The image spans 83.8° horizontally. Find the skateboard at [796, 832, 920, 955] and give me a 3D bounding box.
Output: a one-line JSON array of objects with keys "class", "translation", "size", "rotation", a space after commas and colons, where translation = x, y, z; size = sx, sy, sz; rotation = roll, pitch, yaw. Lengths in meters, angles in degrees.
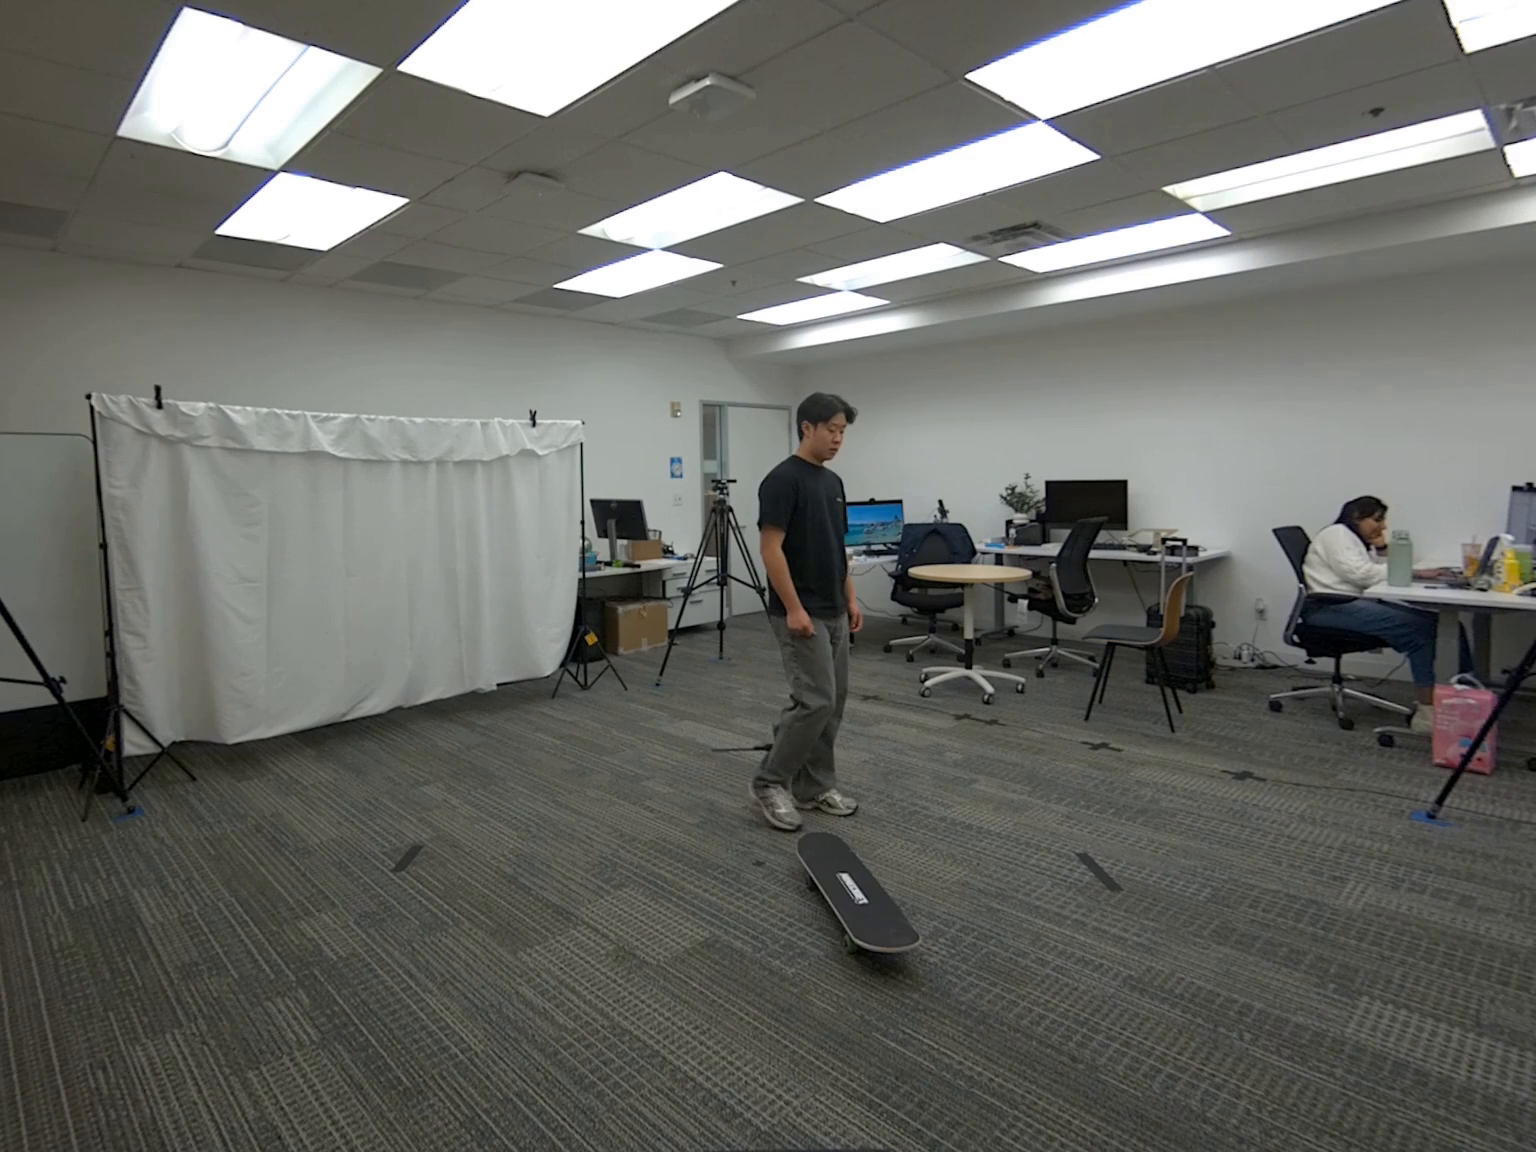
[{"class": "skateboard", "translation": [0.274, 1.033, 2.728], "size": [0.191, 0.110, 0.798], "rotation": [-2, 6, -13]}]
